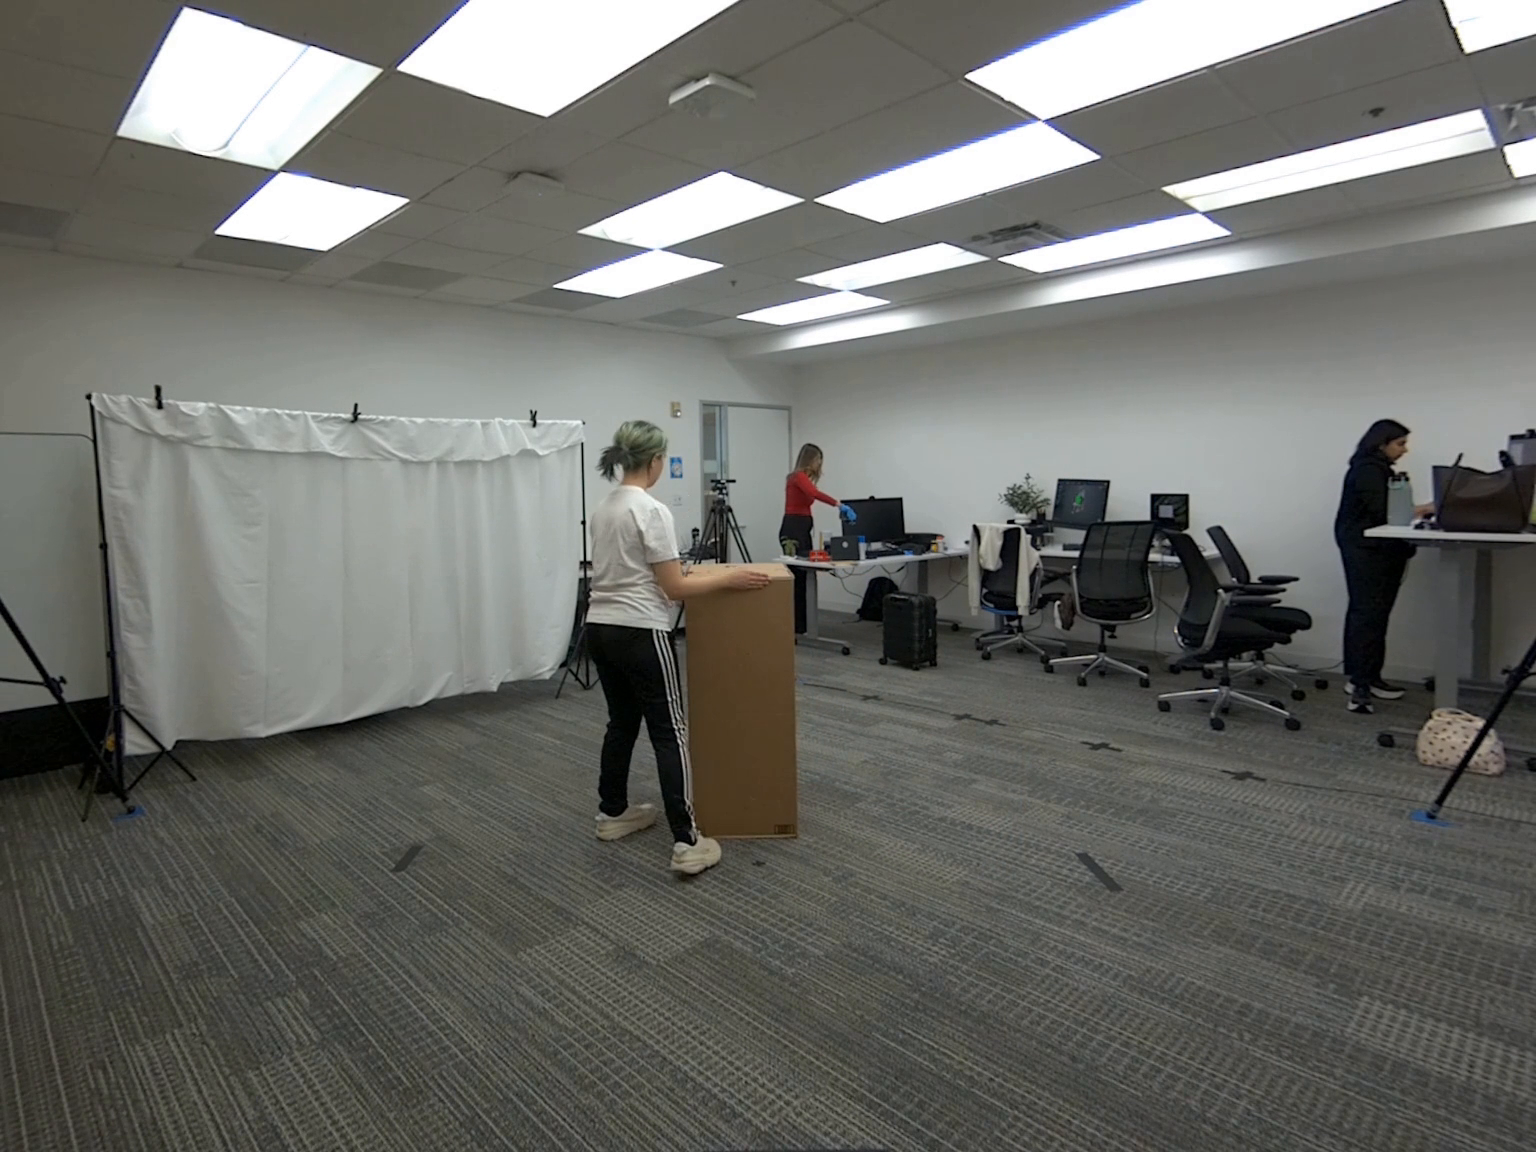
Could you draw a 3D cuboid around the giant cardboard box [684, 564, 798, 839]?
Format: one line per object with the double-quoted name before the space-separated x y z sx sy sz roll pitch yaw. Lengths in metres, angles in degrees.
"giant cardboard box" -0.113 0.488 3.580 0.426 1.022 0.580 -1 4 -1
